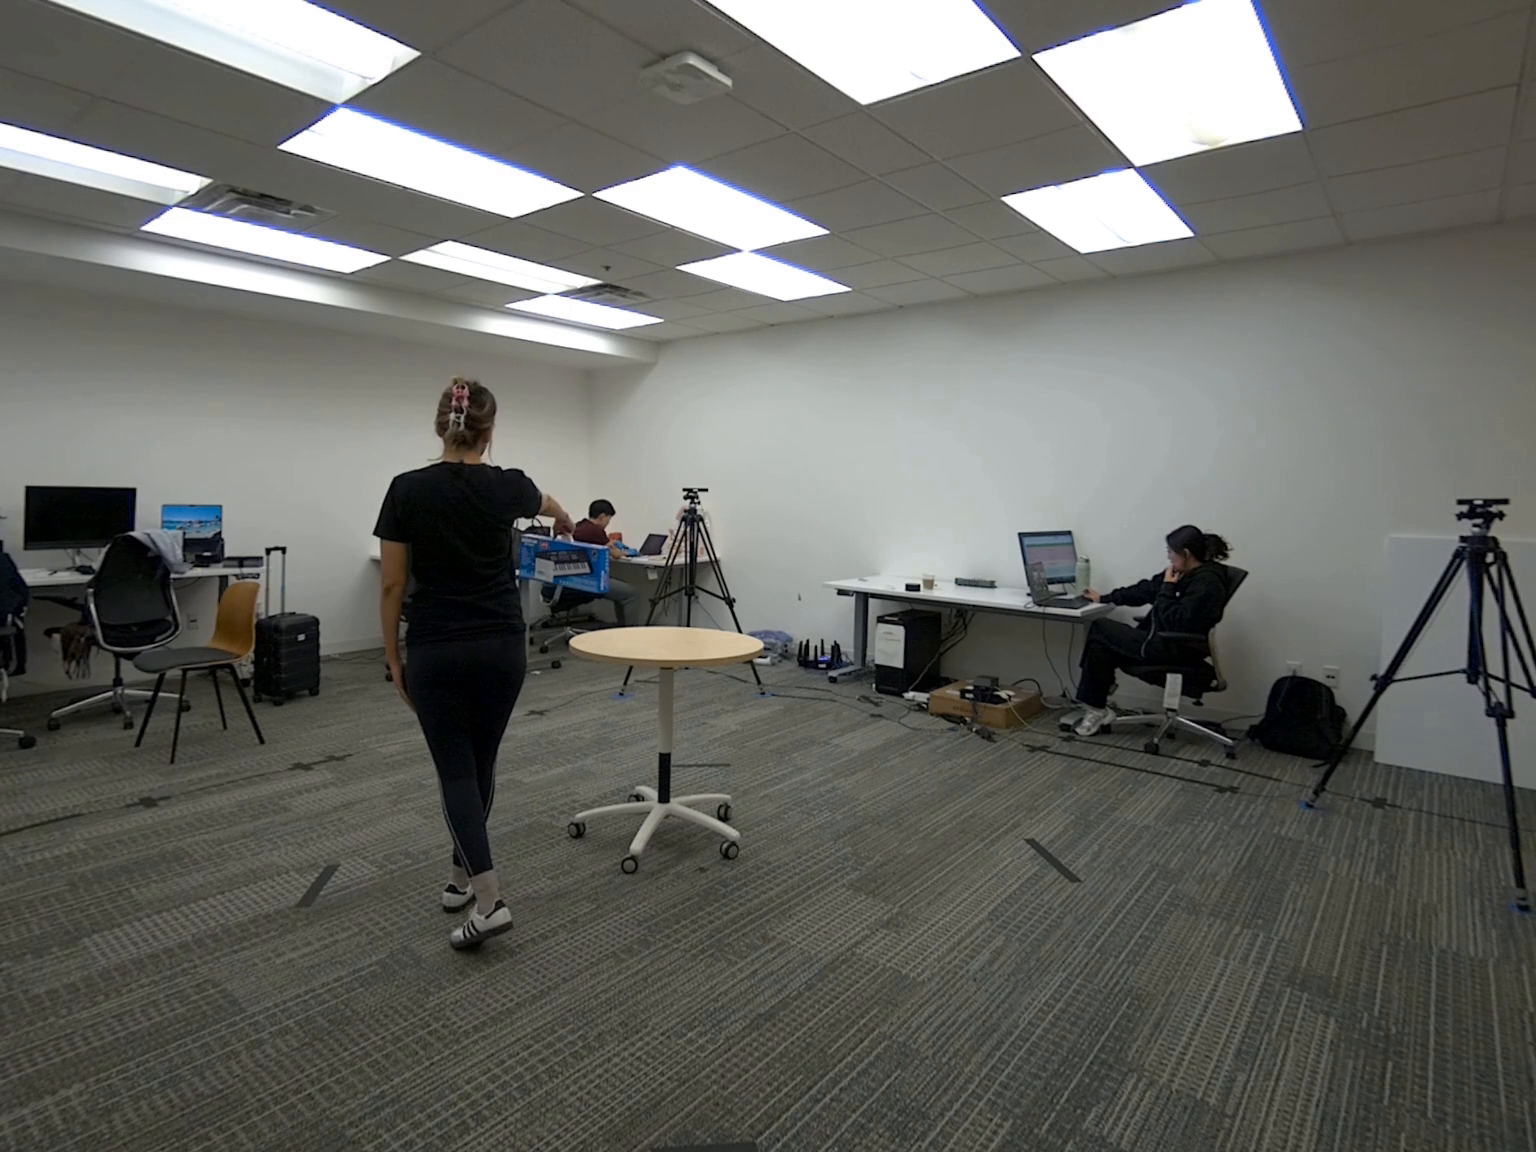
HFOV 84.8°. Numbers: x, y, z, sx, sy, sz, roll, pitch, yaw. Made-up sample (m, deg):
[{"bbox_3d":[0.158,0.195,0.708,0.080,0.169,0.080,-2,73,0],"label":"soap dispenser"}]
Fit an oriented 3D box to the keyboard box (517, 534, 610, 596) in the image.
[{"bbox_3d":[-0.813,-0.052,3.311,0.451,0.175,0.057,9,8,33],"label":"keyboard box"}]
